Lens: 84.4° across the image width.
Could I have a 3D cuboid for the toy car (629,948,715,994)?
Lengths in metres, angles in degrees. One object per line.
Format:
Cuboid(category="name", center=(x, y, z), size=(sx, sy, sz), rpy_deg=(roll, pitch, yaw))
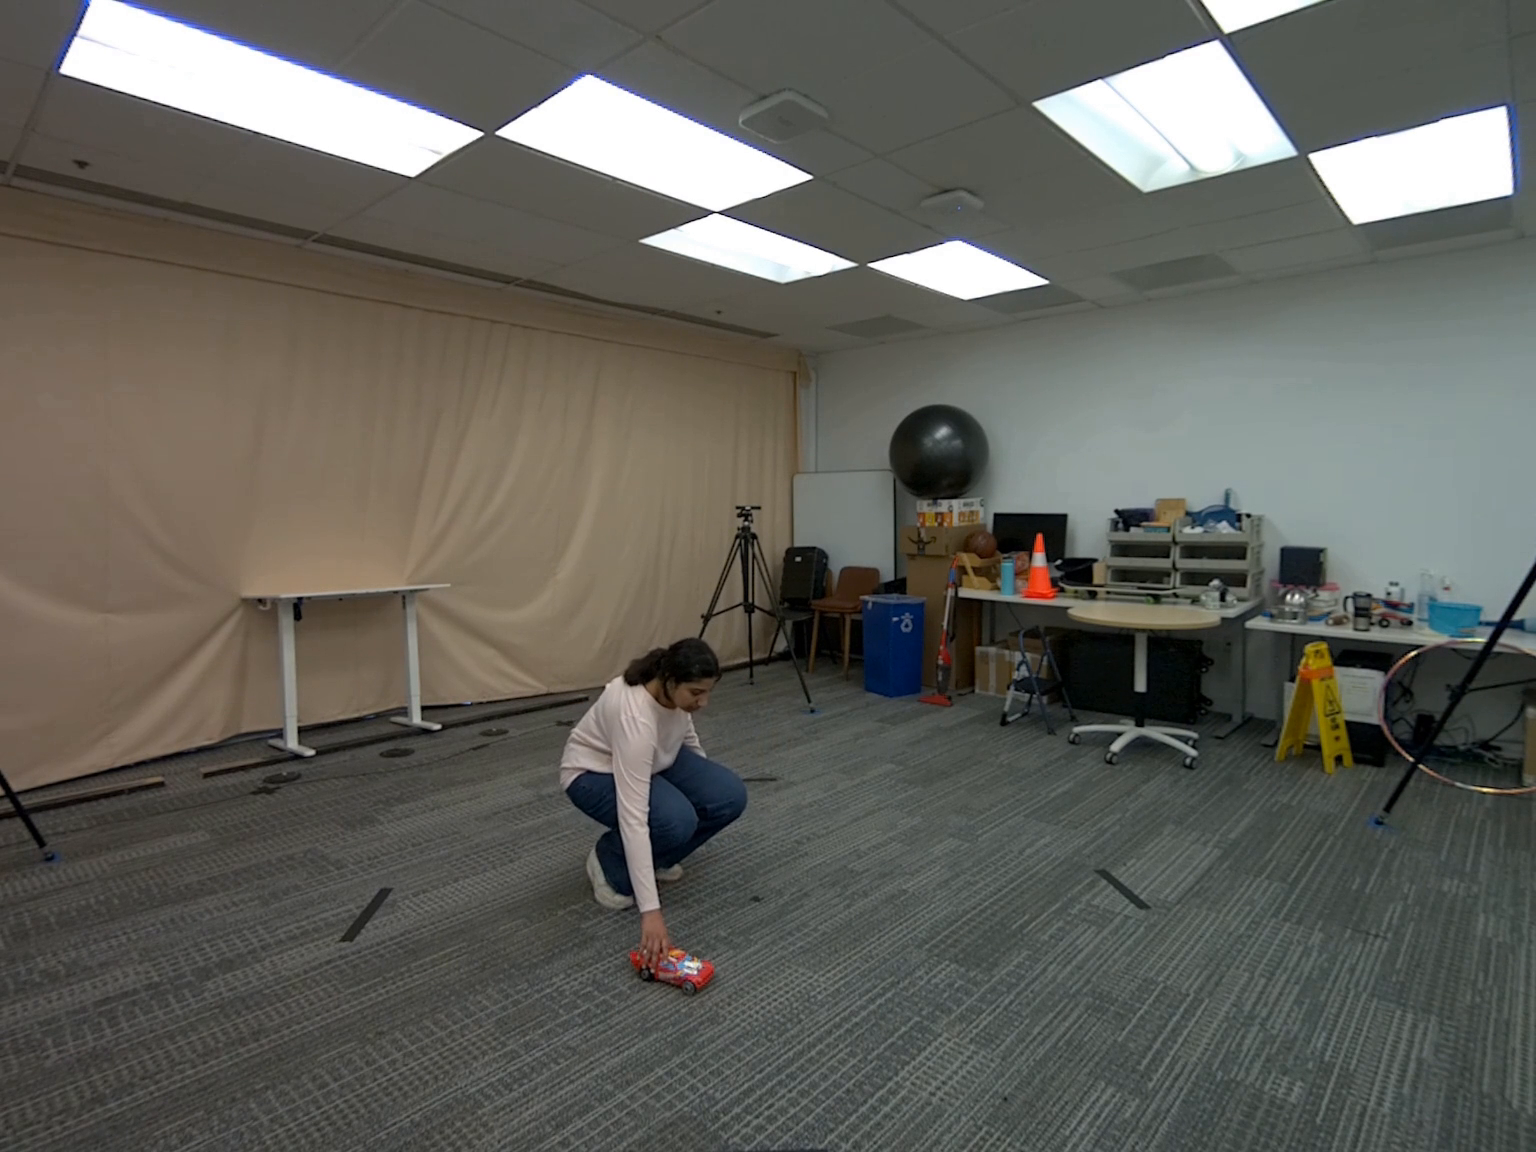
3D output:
Cuboid(category="toy car", center=(-0.292, 1.146, 2.497), size=(0.262, 0.083, 0.127), rpy_deg=(14, 13, 27))
